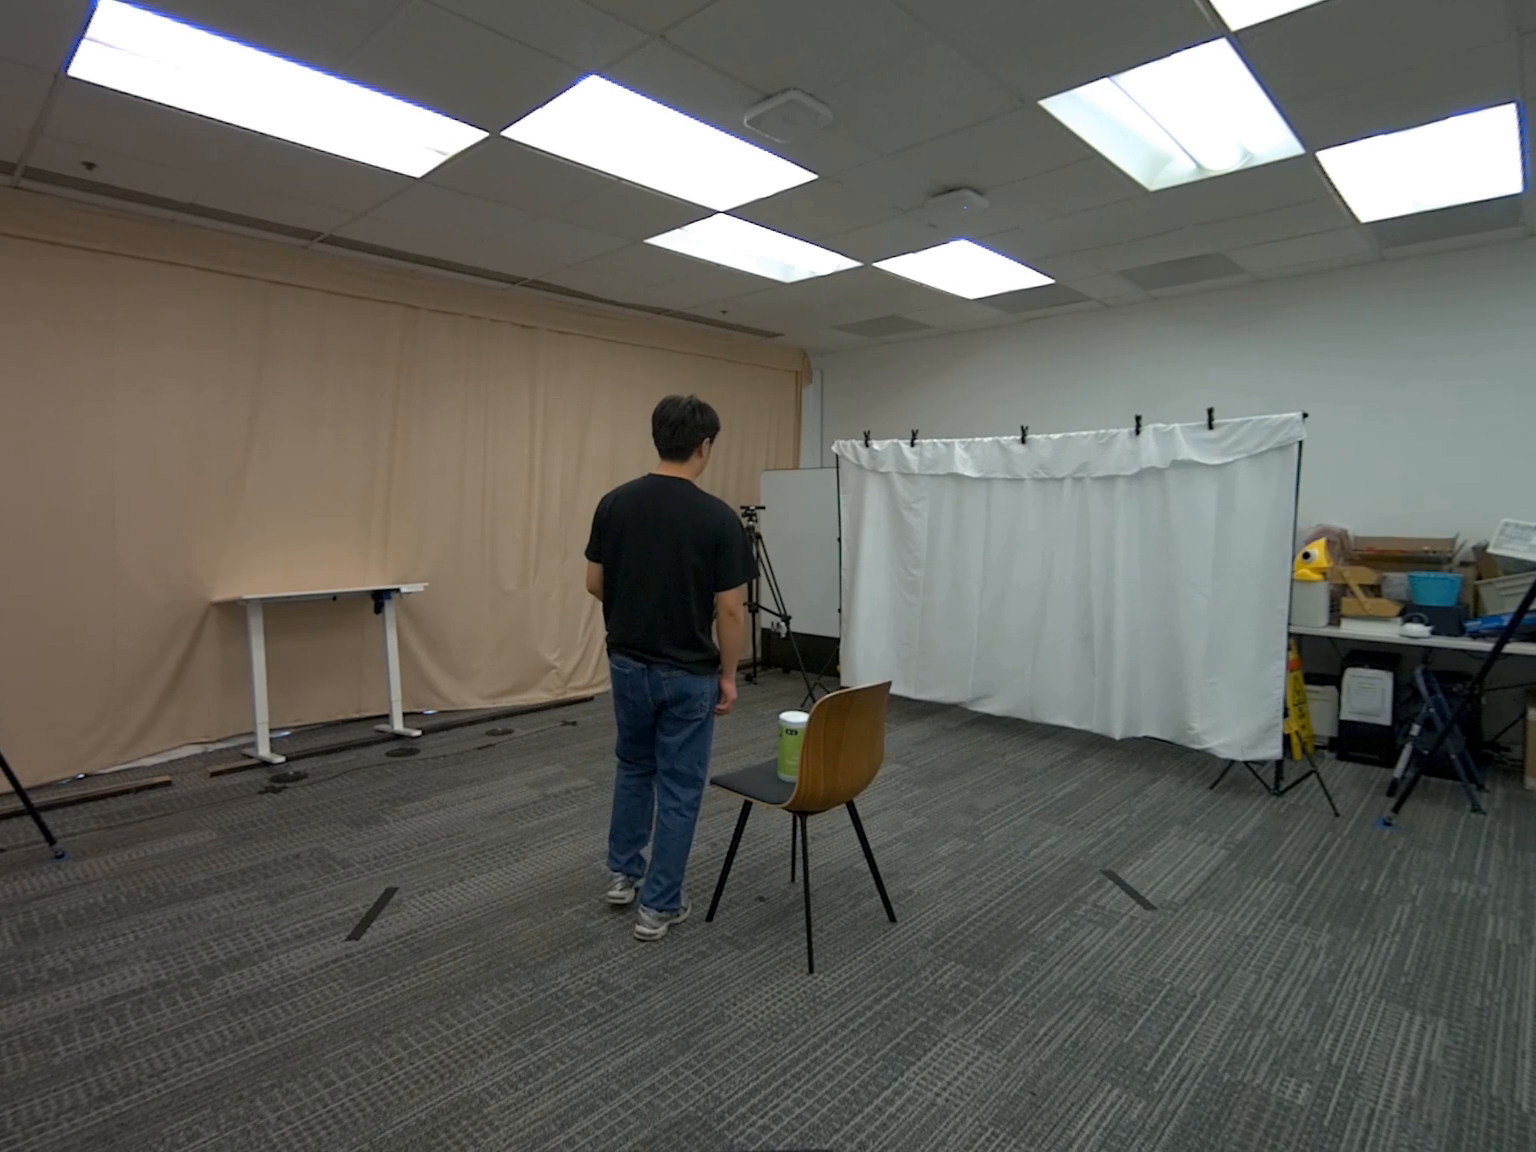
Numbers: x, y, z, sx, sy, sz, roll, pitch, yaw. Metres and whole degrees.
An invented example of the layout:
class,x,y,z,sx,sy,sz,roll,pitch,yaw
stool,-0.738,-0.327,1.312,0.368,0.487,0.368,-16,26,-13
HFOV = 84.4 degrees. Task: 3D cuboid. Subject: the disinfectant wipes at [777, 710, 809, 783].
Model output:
class,x,y,z,sx,sy,sz,roll,pitch,yaw
disinfectant wipes,0.091,0.573,2.825,0.117,0.216,0.118,1,6,-2
